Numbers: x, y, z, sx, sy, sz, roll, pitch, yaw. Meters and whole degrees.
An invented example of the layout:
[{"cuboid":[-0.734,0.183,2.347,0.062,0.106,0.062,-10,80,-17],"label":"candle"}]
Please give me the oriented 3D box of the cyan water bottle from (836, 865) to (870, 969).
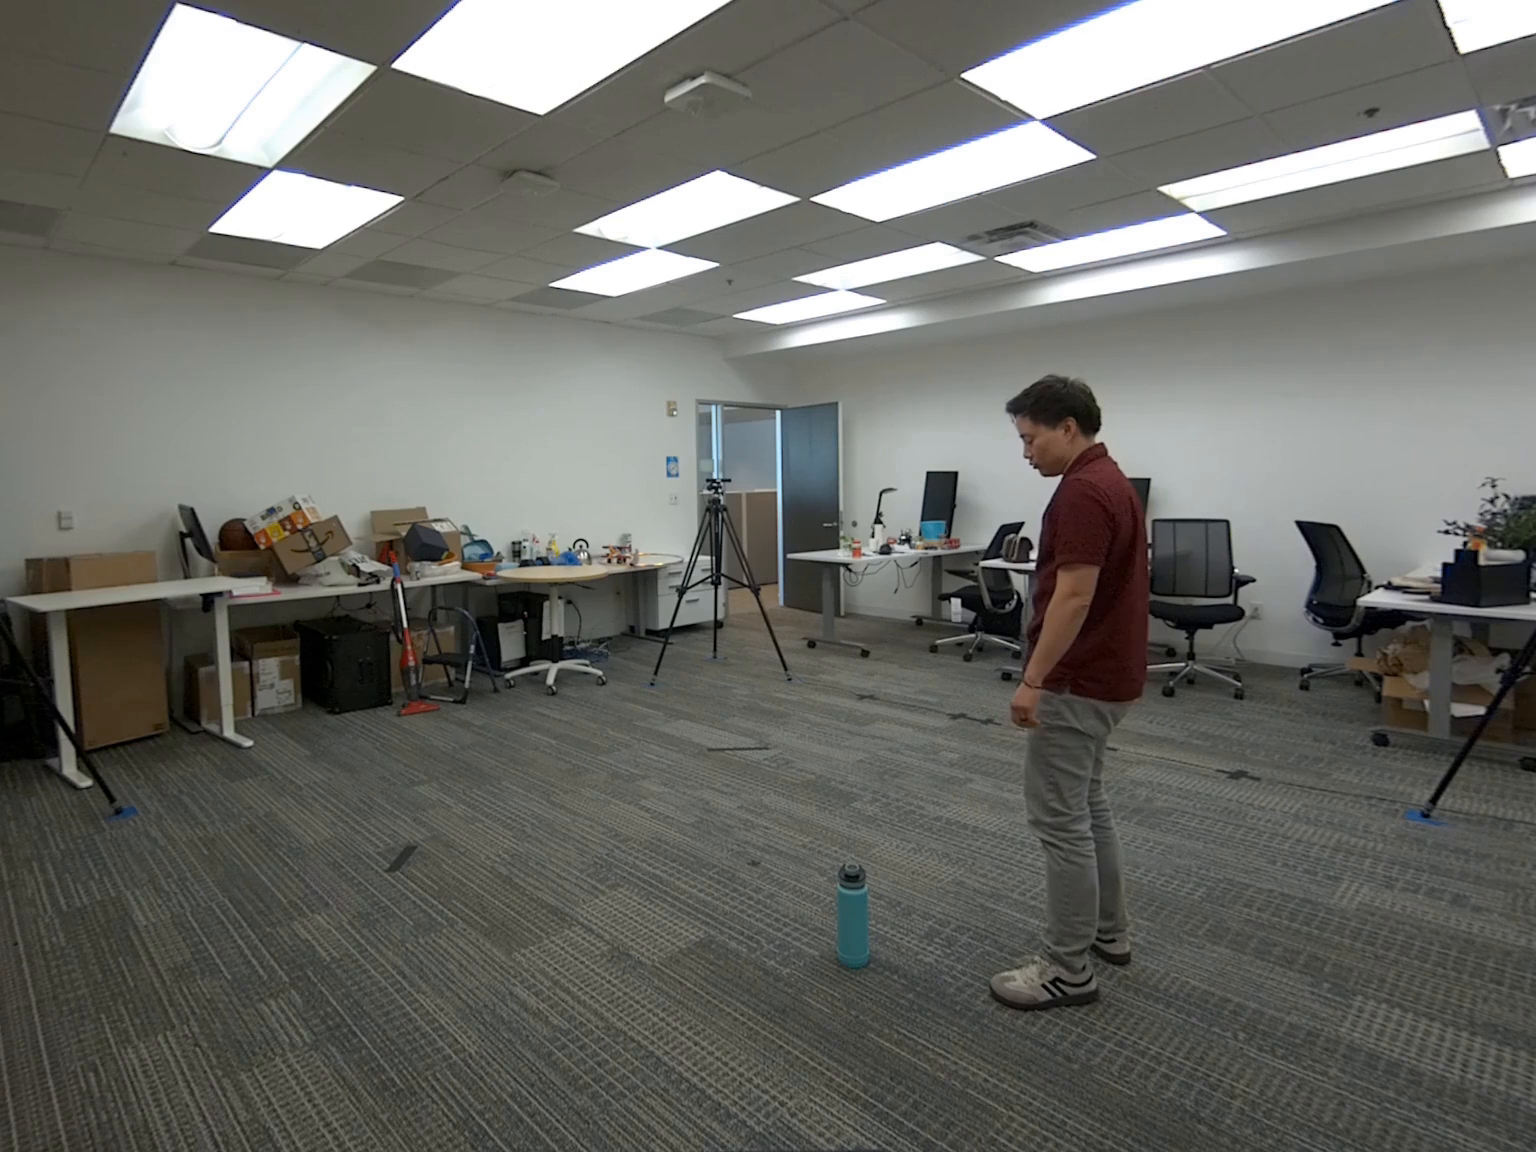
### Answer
[{"cuboid":[0.256,0.973,2.468,0.092,0.283,0.092,-2,1,-2],"label":"cyan water bottle"}]
